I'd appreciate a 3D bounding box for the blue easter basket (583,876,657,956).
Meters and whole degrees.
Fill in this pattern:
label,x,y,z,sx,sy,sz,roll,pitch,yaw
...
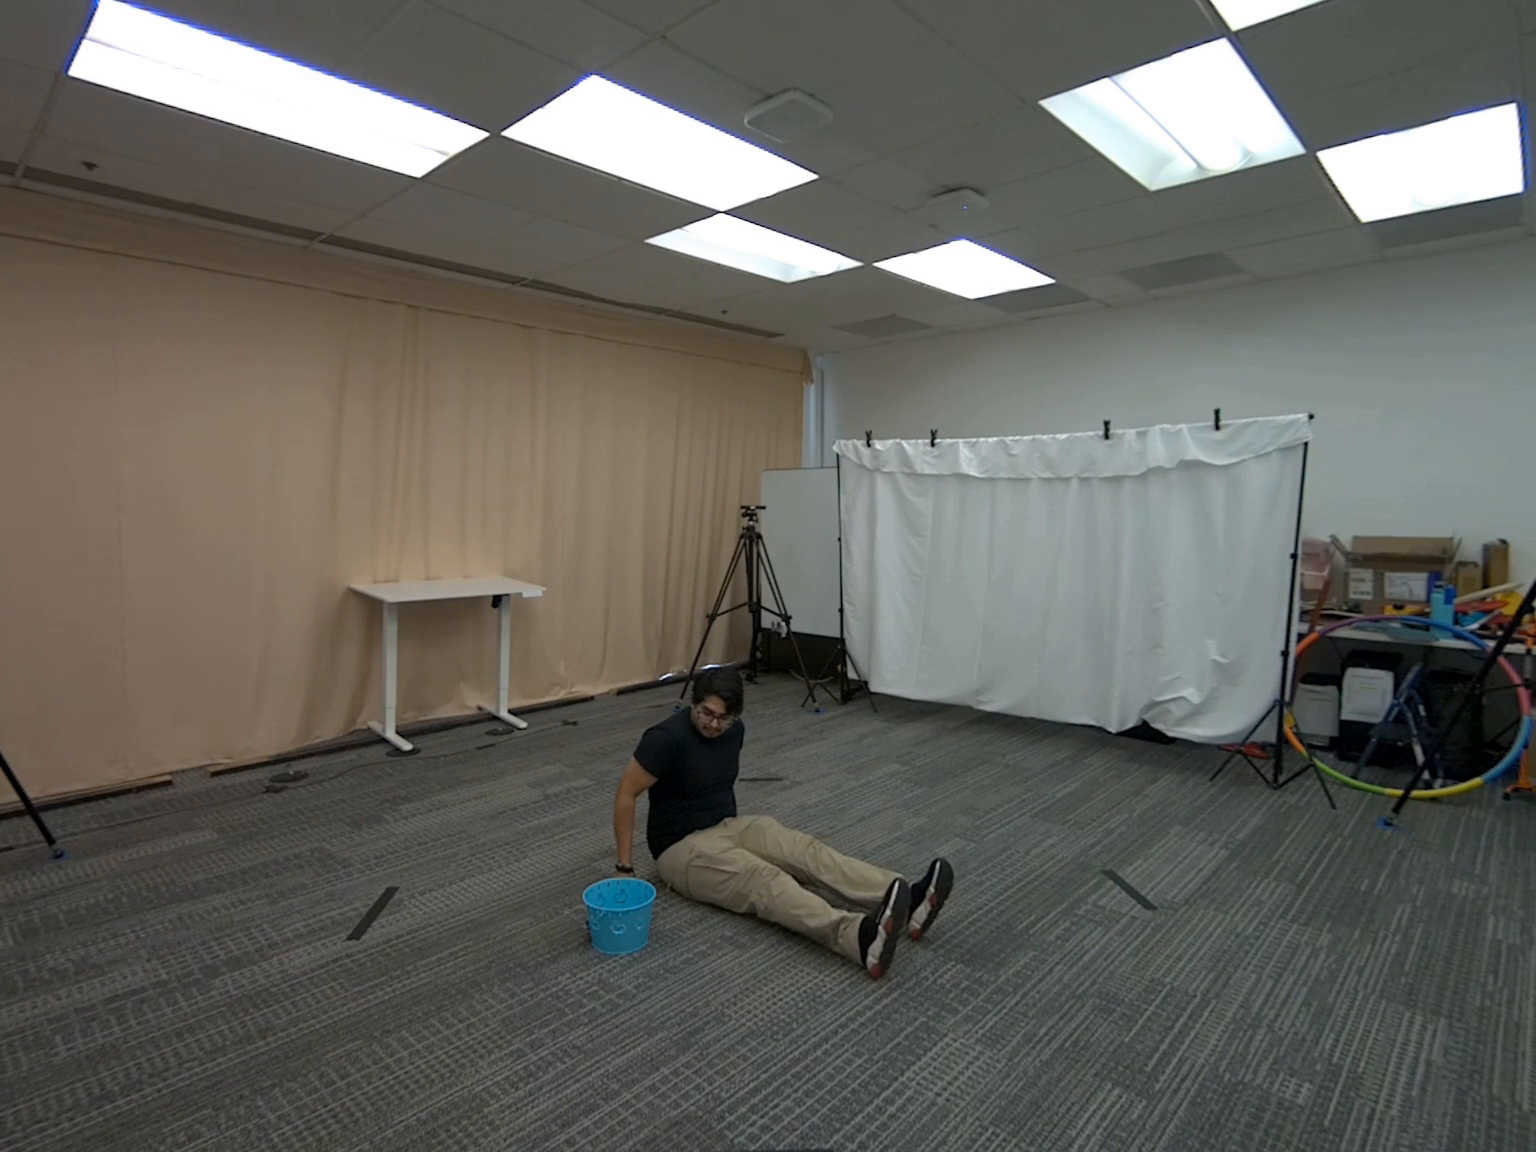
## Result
label,x,y,z,sx,sy,sz,roll,pitch,yaw
blue easter basket,-0.480,1.083,2.706,0.243,0.155,0.244,0,3,-2
